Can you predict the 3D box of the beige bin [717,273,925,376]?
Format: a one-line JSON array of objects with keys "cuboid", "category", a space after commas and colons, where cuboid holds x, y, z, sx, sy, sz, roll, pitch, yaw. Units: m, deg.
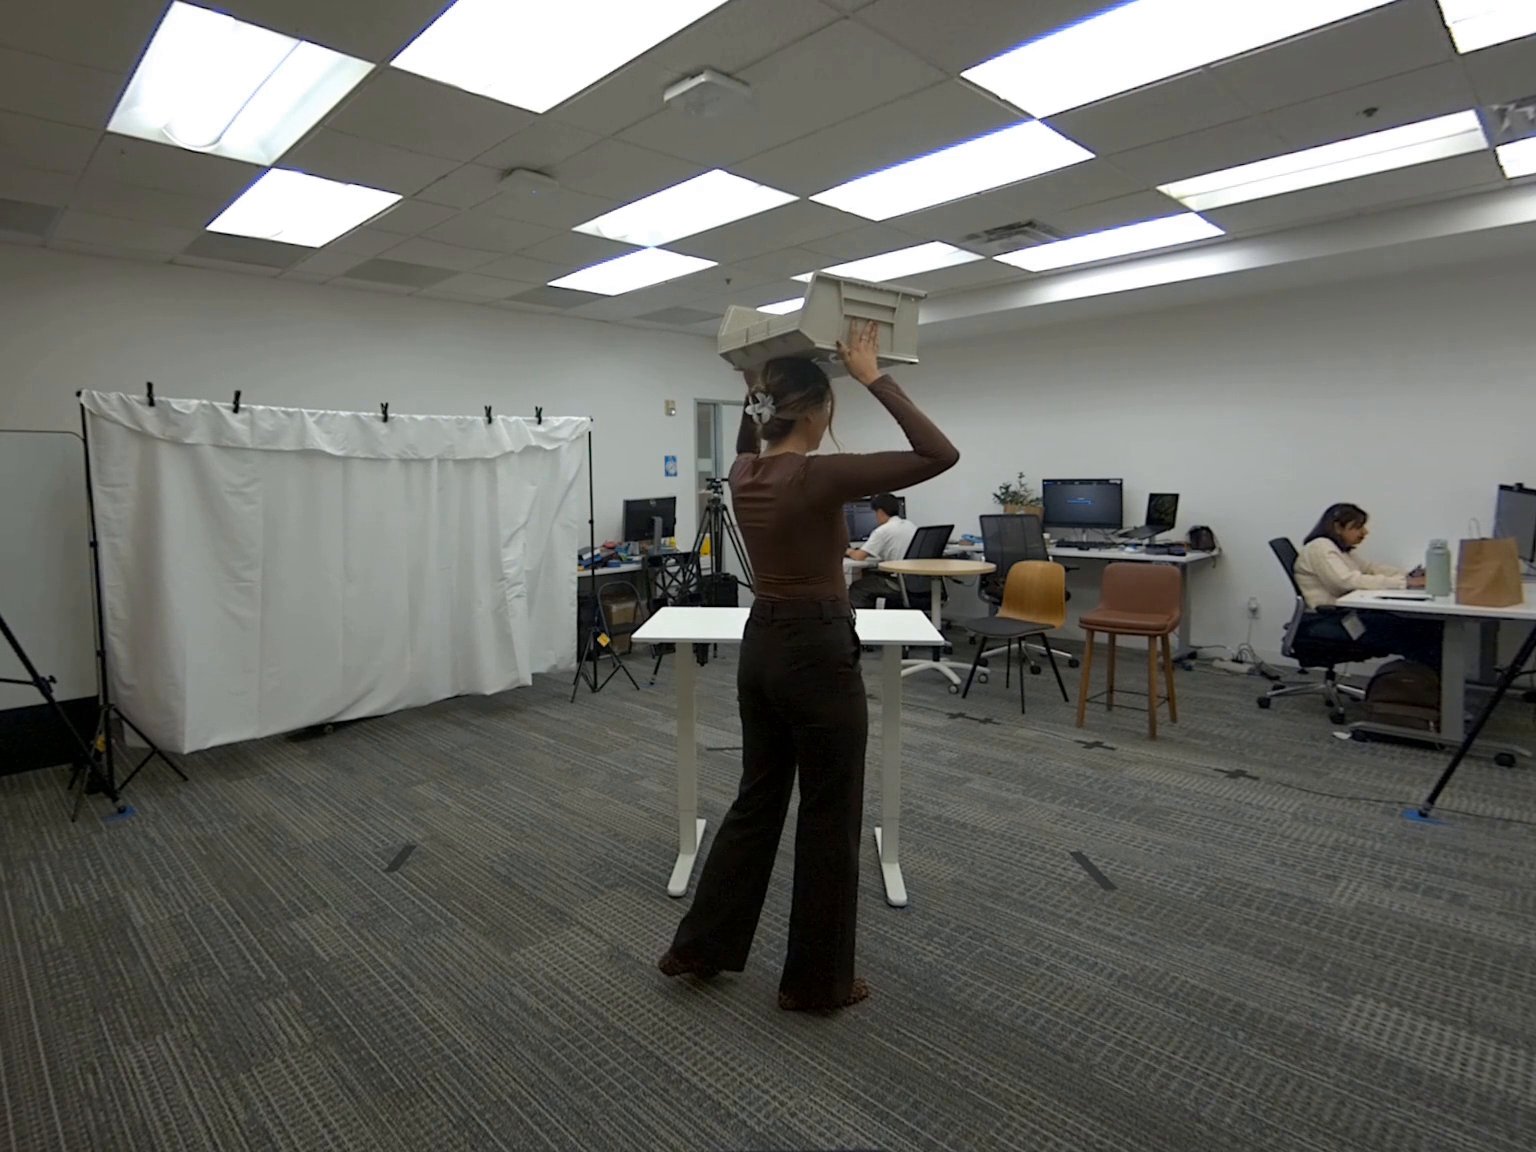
[{"cuboid": [0.131, -0.644, 2.246, 0.368, 0.189, 0.433, 2, 3, -29], "category": "beige bin"}]
